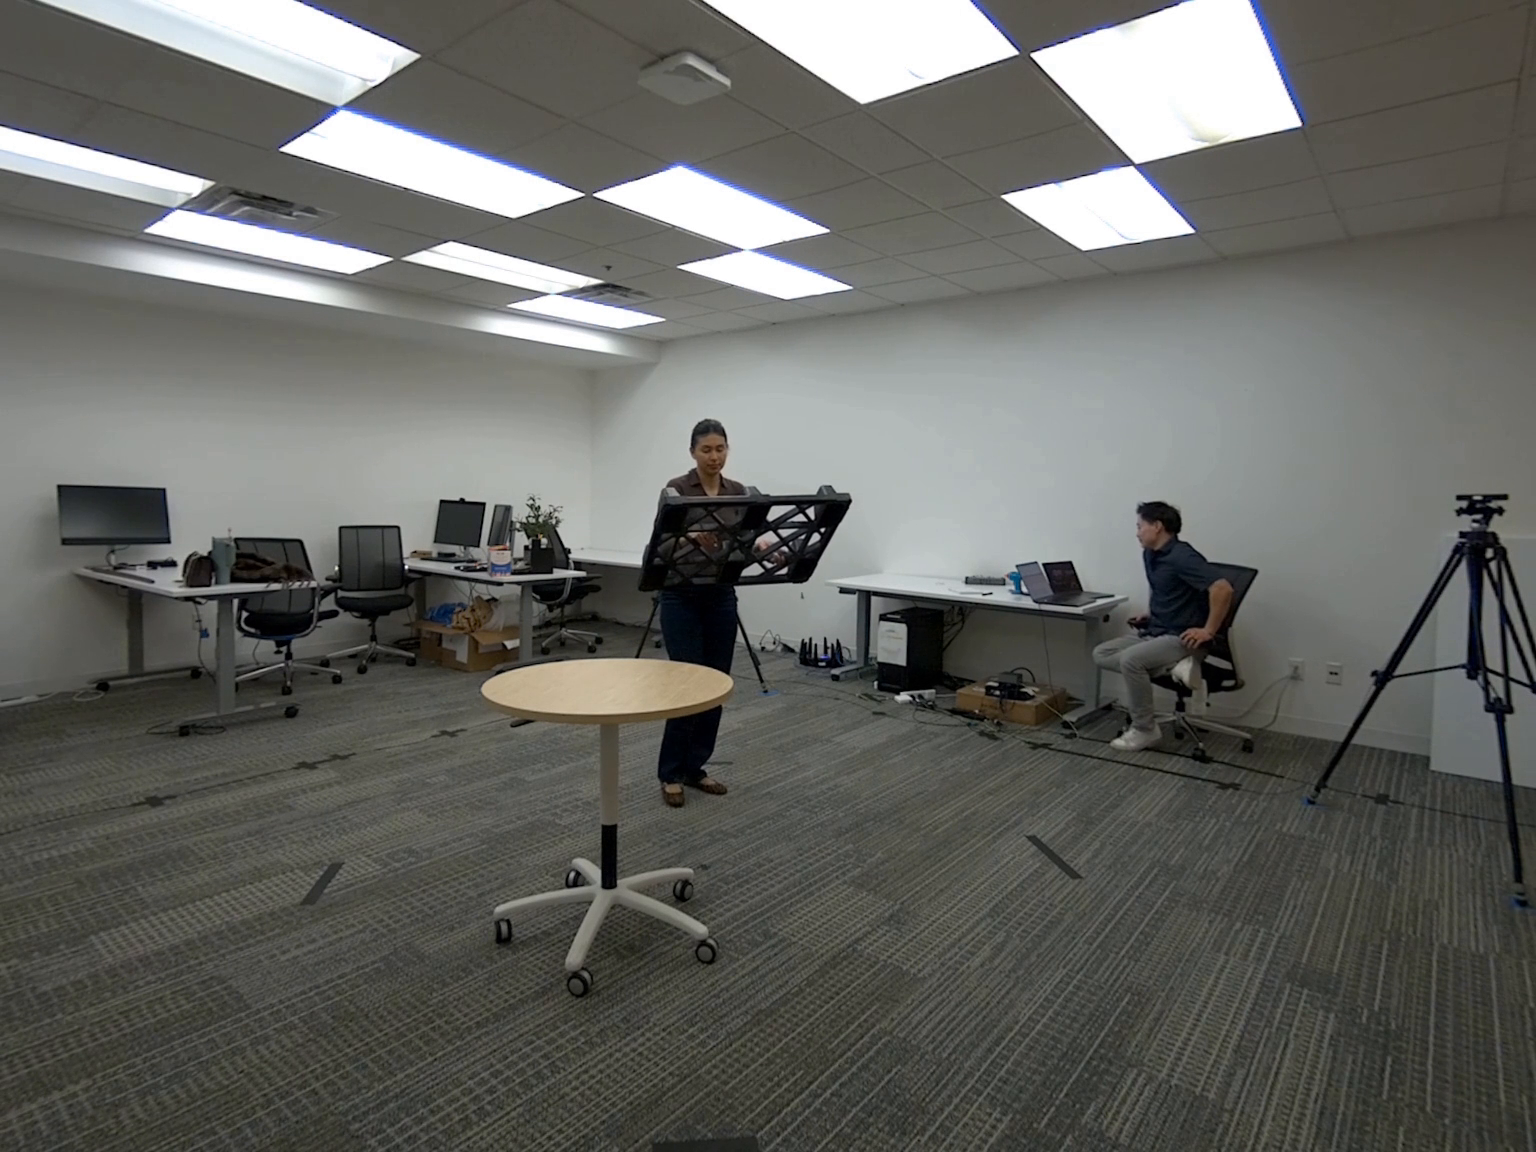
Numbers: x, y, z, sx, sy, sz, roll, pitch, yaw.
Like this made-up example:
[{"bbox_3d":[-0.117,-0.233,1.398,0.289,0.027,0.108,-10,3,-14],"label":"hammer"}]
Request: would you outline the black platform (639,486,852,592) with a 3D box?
[{"bbox_3d":[-0.126,-0.172,3.581,0.791,0.148,0.596,-2,-34,-19],"label":"black platform"}]
